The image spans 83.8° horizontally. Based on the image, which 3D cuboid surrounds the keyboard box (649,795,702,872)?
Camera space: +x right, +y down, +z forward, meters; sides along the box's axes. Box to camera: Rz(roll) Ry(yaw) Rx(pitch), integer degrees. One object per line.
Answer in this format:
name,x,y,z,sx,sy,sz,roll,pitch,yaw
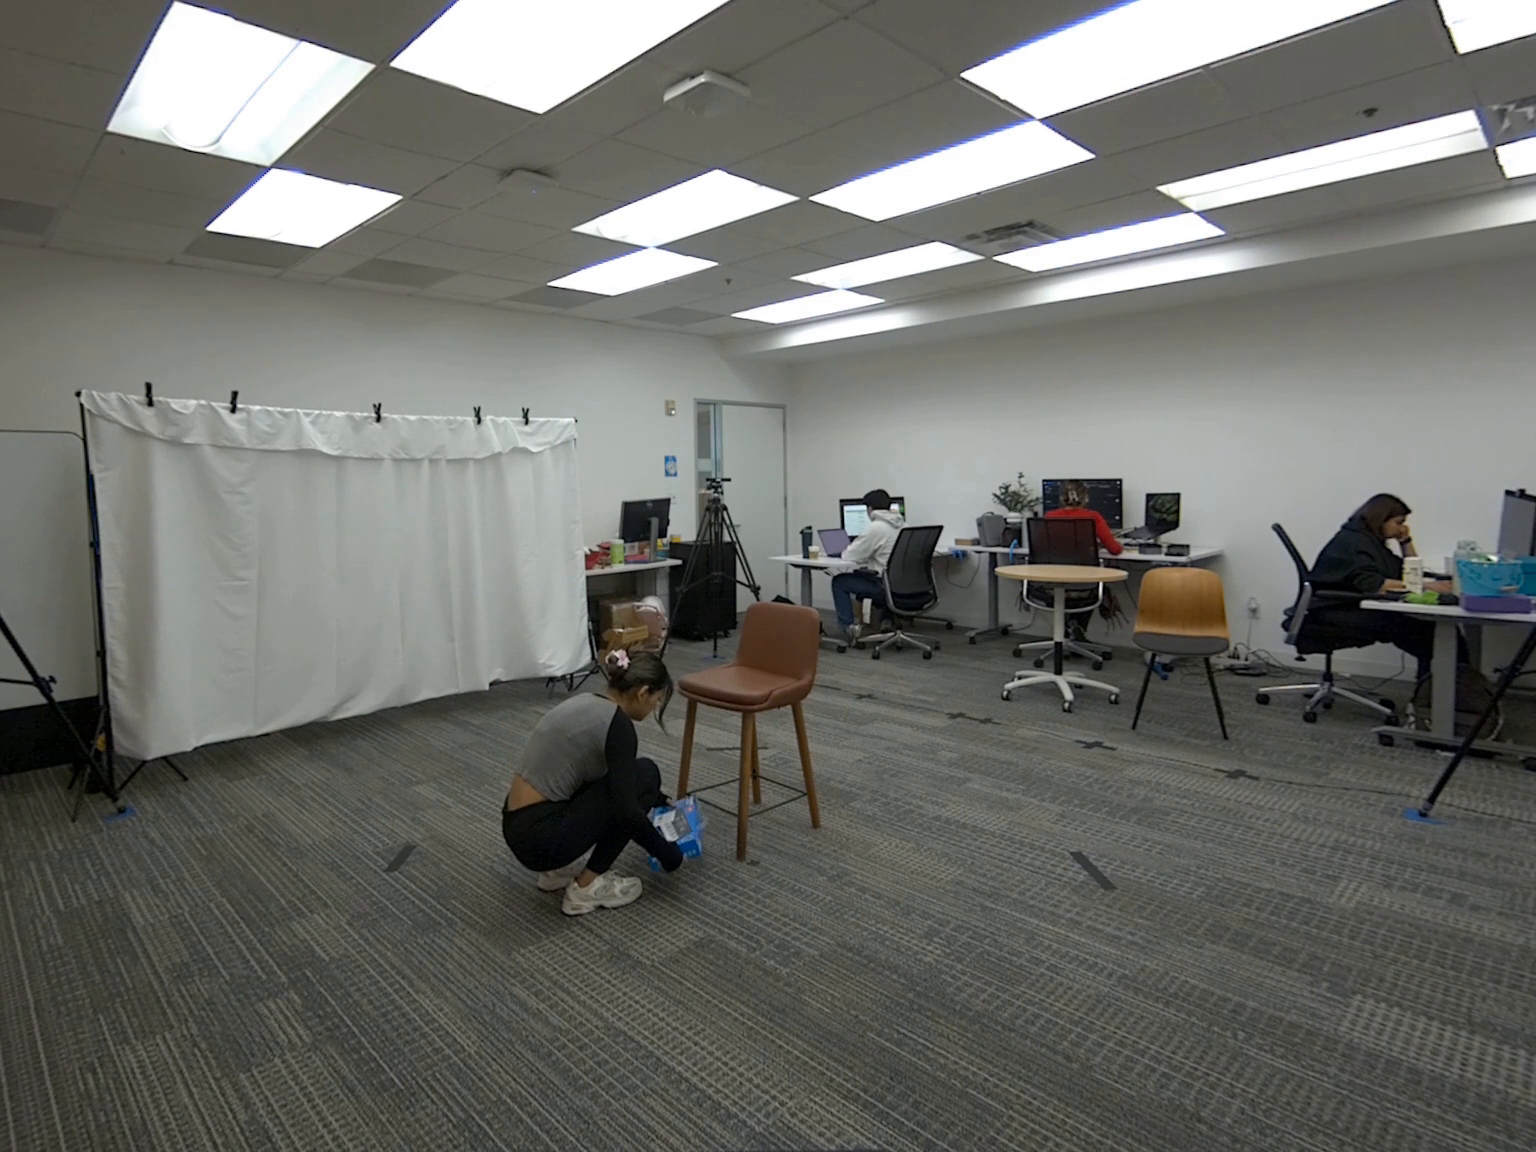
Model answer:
keyboard box,-0.335,0.912,3.059,0.176,0.059,0.438,-18,6,0
